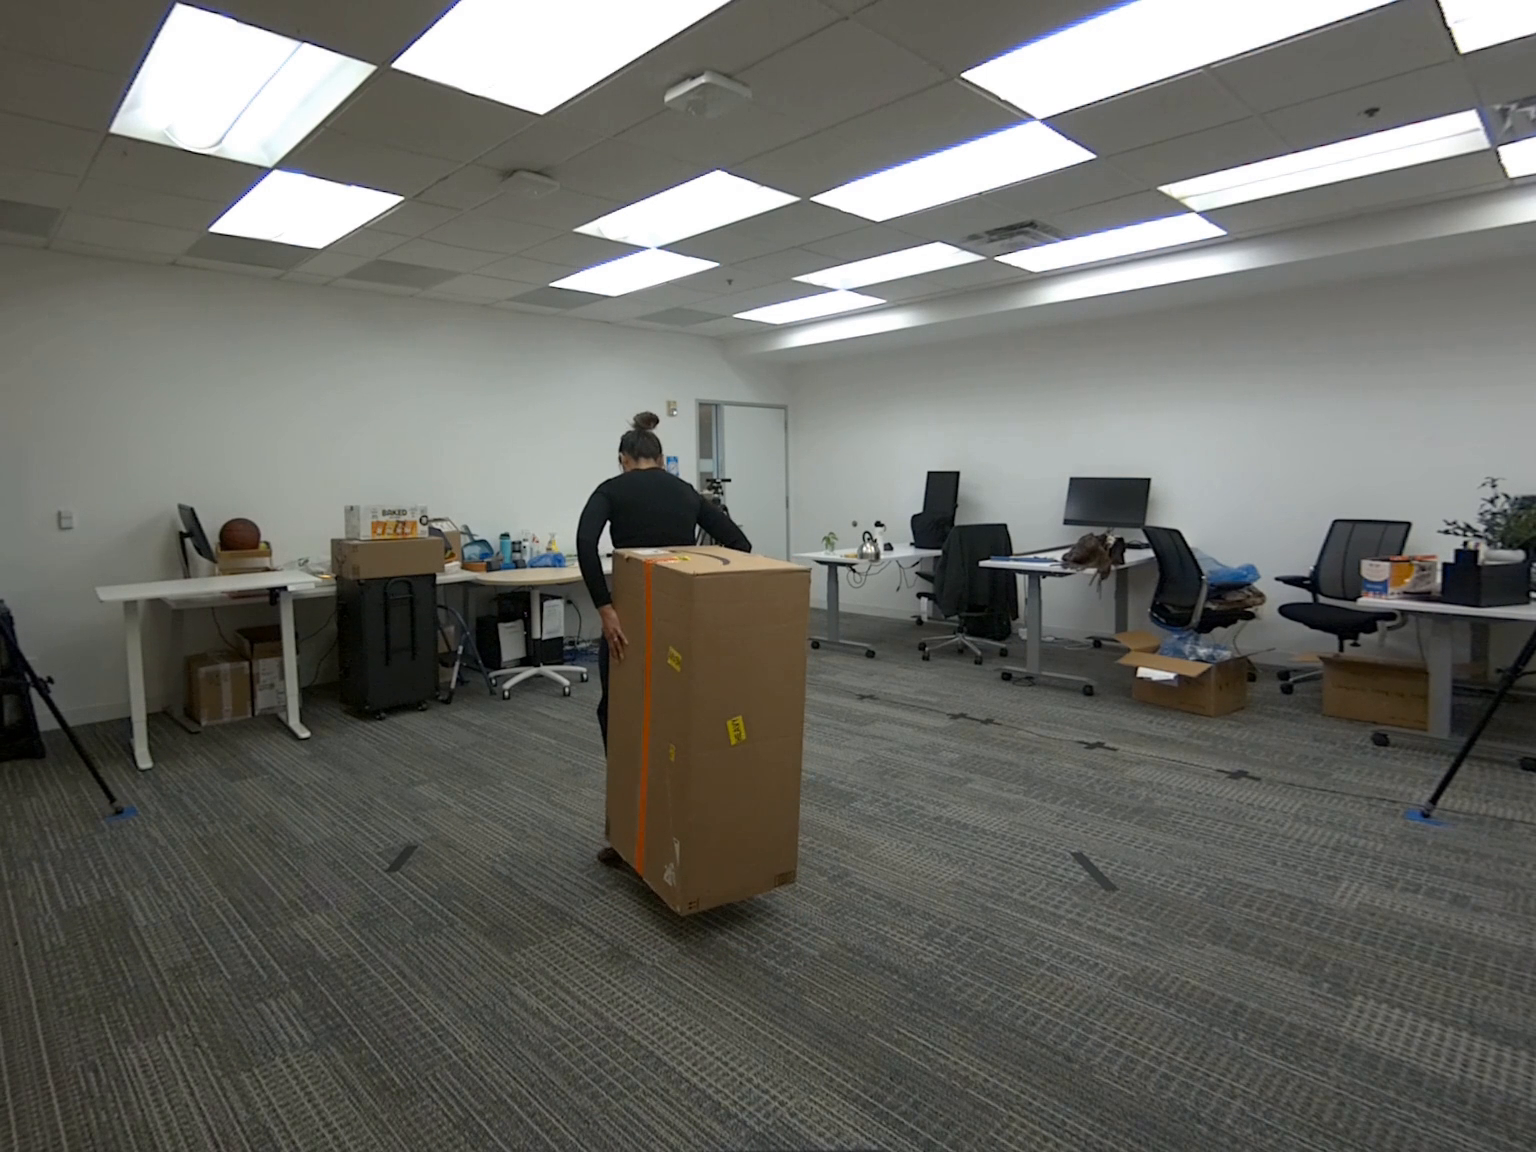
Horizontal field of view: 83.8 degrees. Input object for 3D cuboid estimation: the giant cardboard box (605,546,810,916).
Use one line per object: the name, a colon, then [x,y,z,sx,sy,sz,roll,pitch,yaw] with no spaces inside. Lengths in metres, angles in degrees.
giant cardboard box: [-0.208,0.451,2.799,0.415,1.020,0.596,-1,8,-33]
